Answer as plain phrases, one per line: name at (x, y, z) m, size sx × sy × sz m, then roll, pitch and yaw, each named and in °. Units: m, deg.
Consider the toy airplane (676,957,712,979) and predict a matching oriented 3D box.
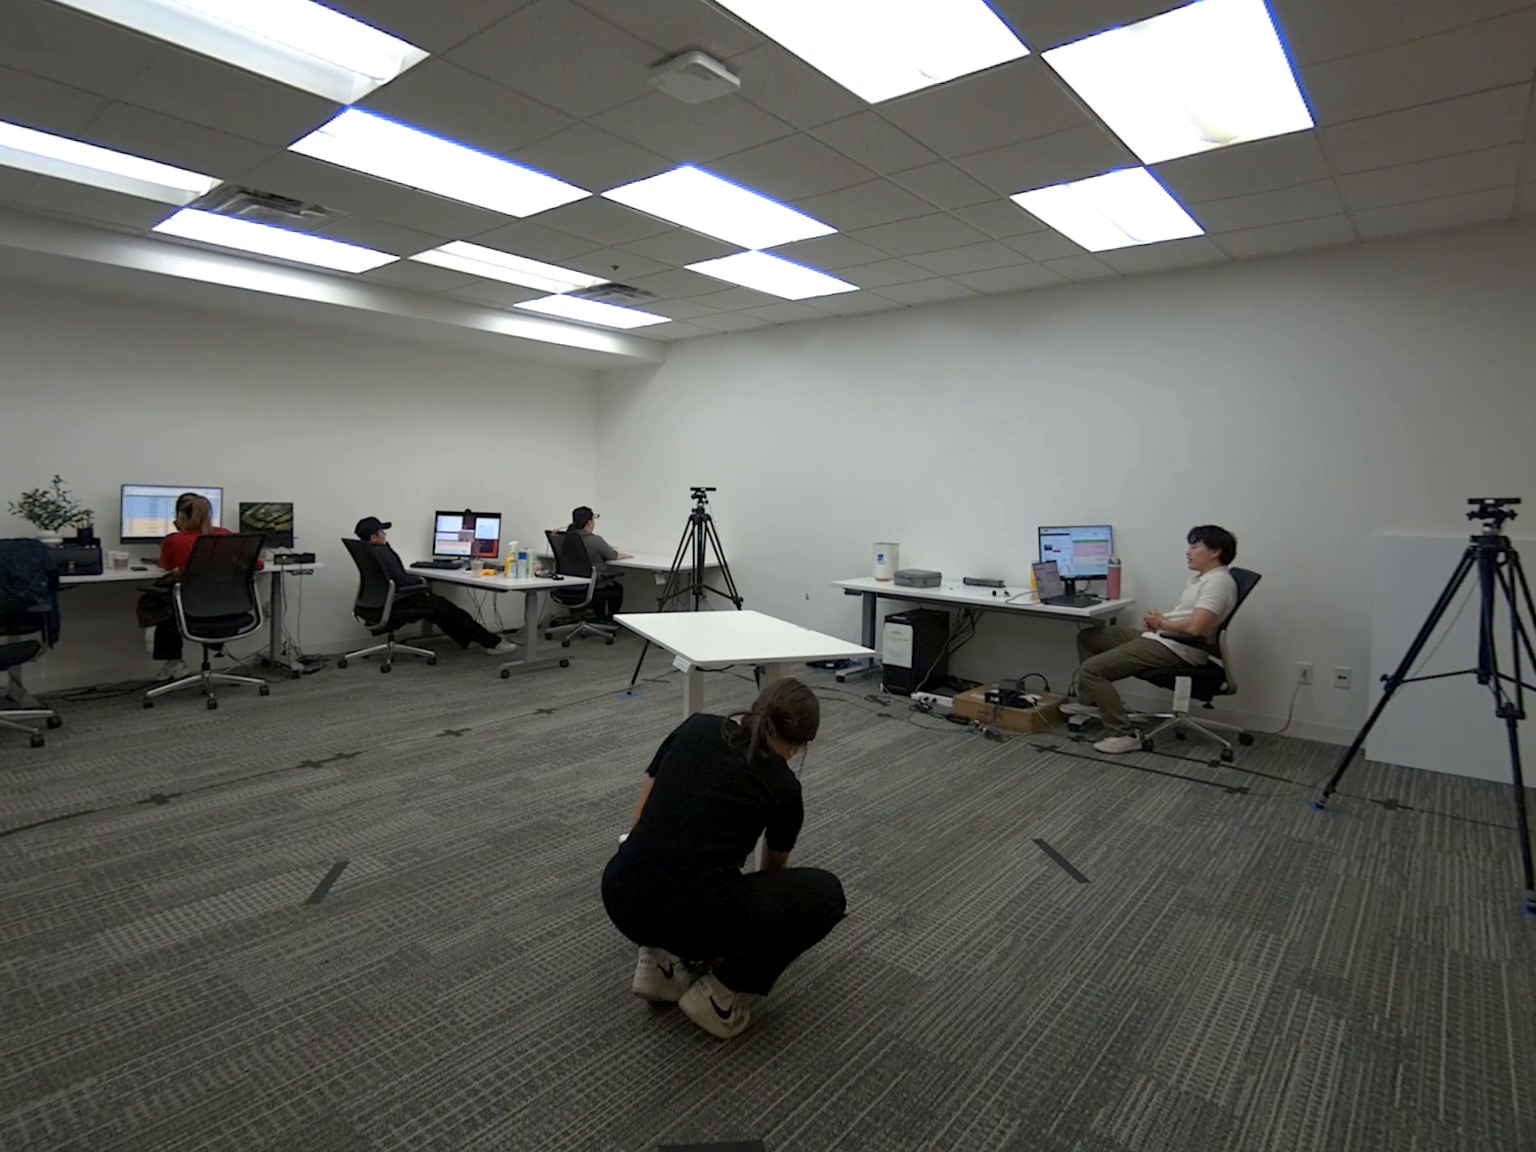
toy airplane at (-0.153, 1.041, 2.507) m, size 0.256 × 0.156 × 0.255 m, roll 2°, pitch 6°, yaw 19°
